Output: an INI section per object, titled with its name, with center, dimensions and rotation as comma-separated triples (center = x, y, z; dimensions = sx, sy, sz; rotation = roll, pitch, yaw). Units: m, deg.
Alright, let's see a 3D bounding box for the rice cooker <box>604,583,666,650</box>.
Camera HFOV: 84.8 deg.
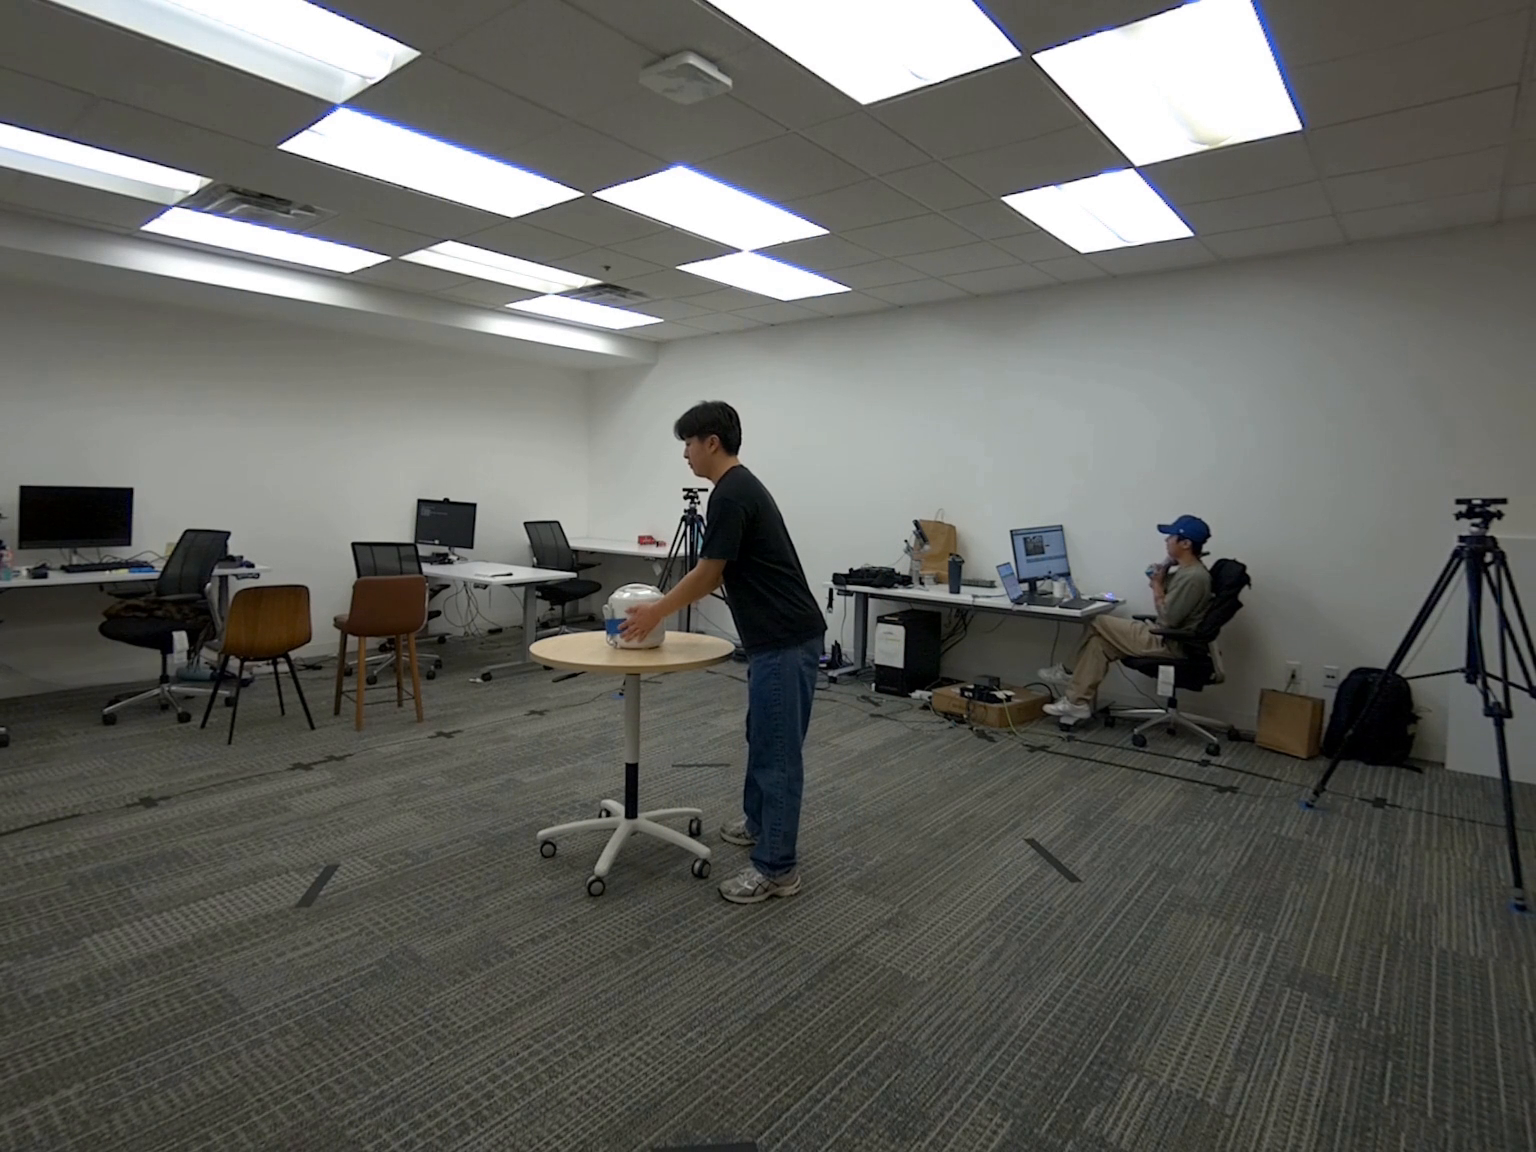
[rice cooker]
center = -0.503, 0.143, 3.208
dimensions = 0.223, 0.232, 0.215
rotation = 2, 4, 11
